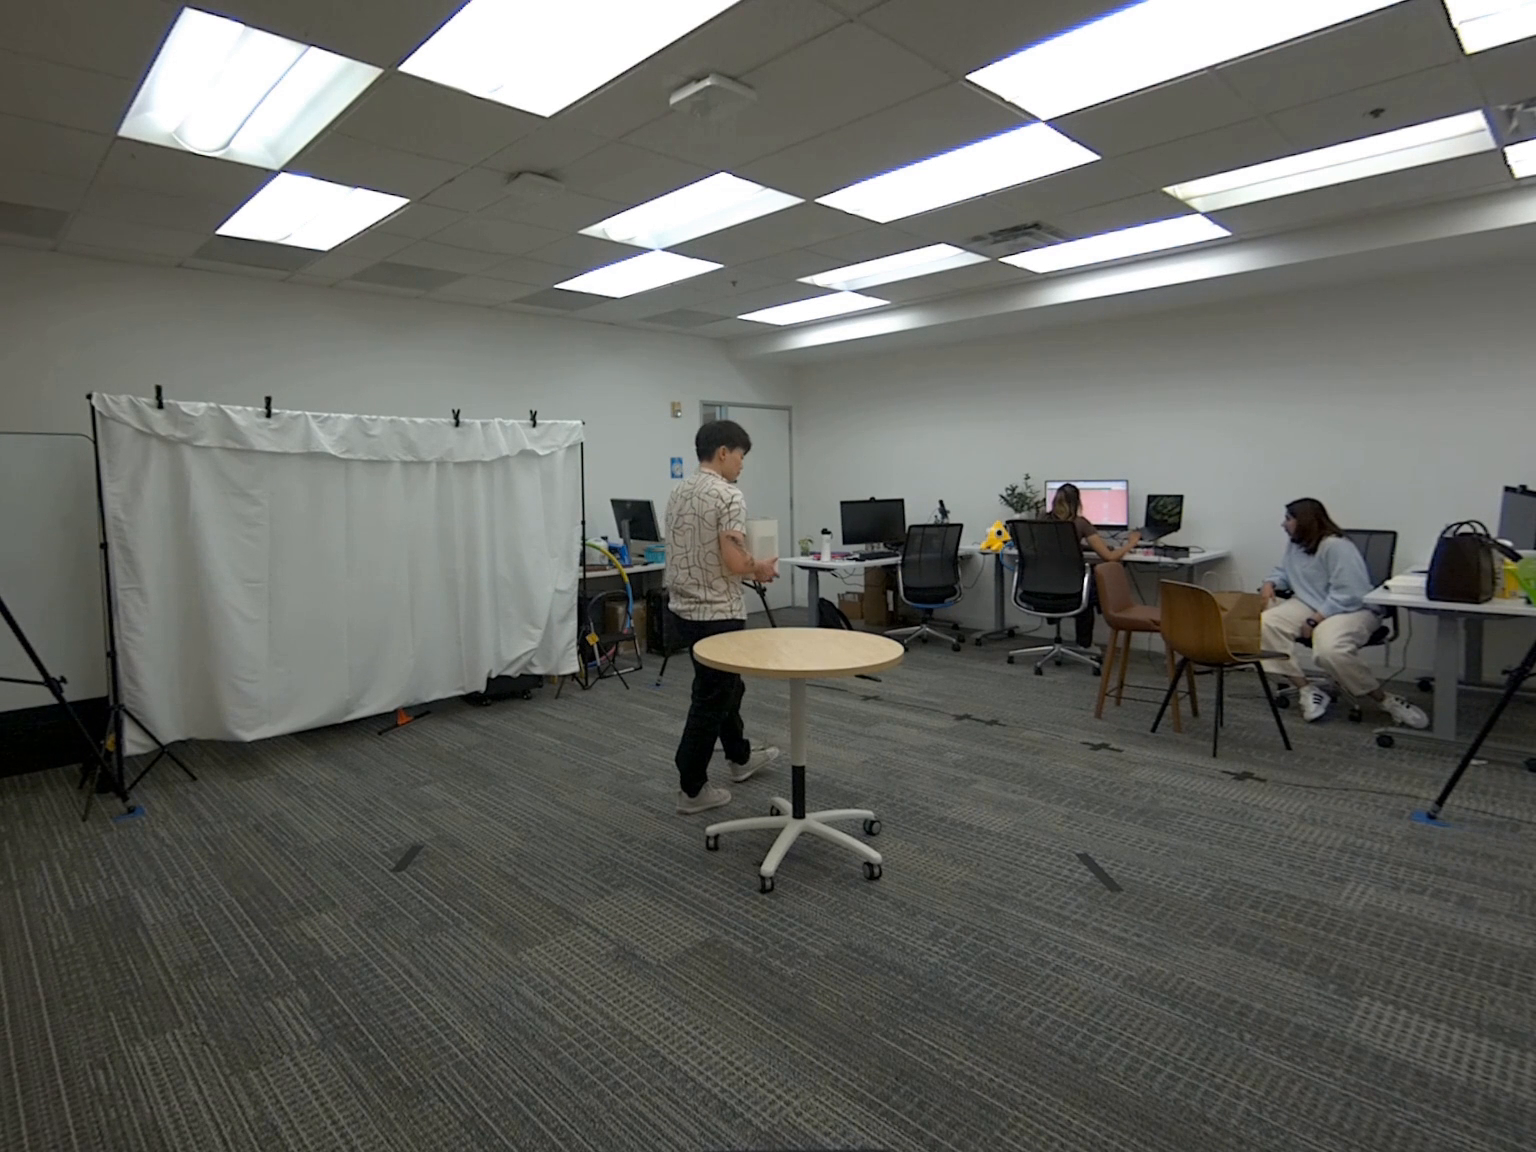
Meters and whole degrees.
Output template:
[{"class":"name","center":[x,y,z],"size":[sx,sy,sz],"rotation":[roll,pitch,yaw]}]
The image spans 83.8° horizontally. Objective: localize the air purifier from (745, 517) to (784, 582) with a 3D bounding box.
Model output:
[{"class":"air purifier","center":[-0.060,-0.123,3.765],"size":[0.167,0.264,0.176],"rotation":[-5,5,-35]}]
